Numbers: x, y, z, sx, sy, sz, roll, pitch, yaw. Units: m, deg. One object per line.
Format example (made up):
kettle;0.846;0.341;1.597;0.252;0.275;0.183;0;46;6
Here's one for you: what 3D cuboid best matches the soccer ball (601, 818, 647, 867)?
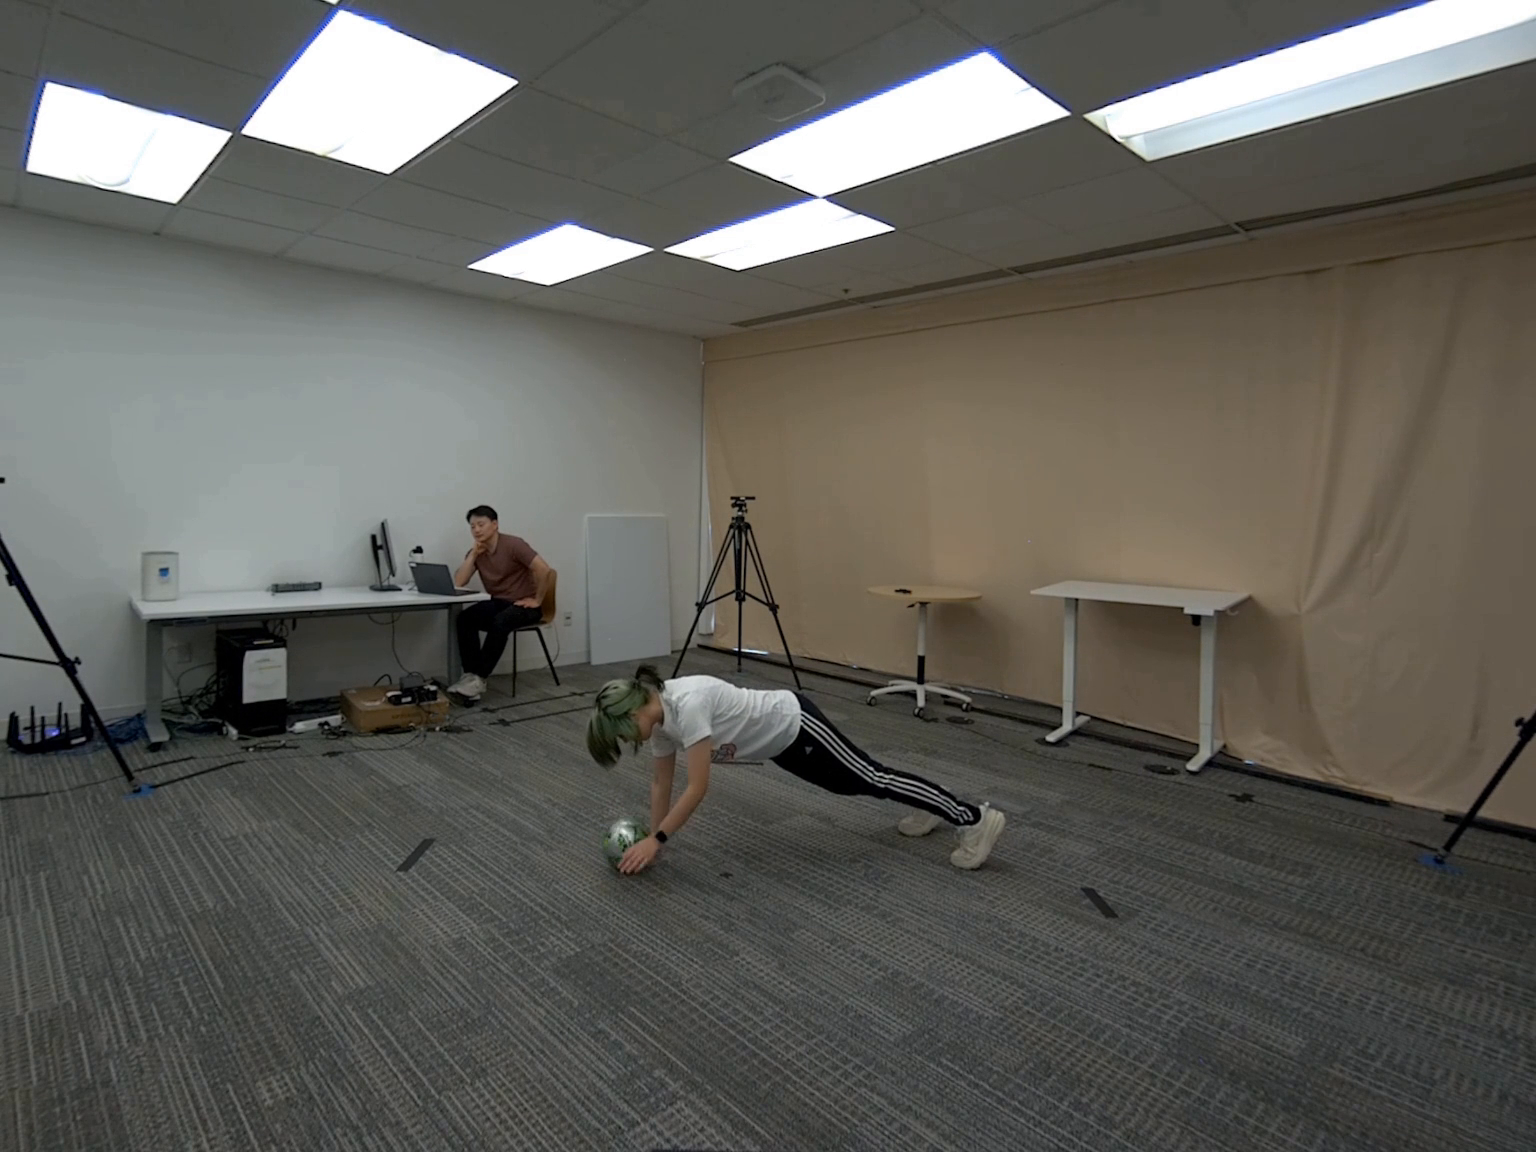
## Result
soccer ball;-0.528;1.001;3.132;0.187;0.187;0.188;1;4;-1
